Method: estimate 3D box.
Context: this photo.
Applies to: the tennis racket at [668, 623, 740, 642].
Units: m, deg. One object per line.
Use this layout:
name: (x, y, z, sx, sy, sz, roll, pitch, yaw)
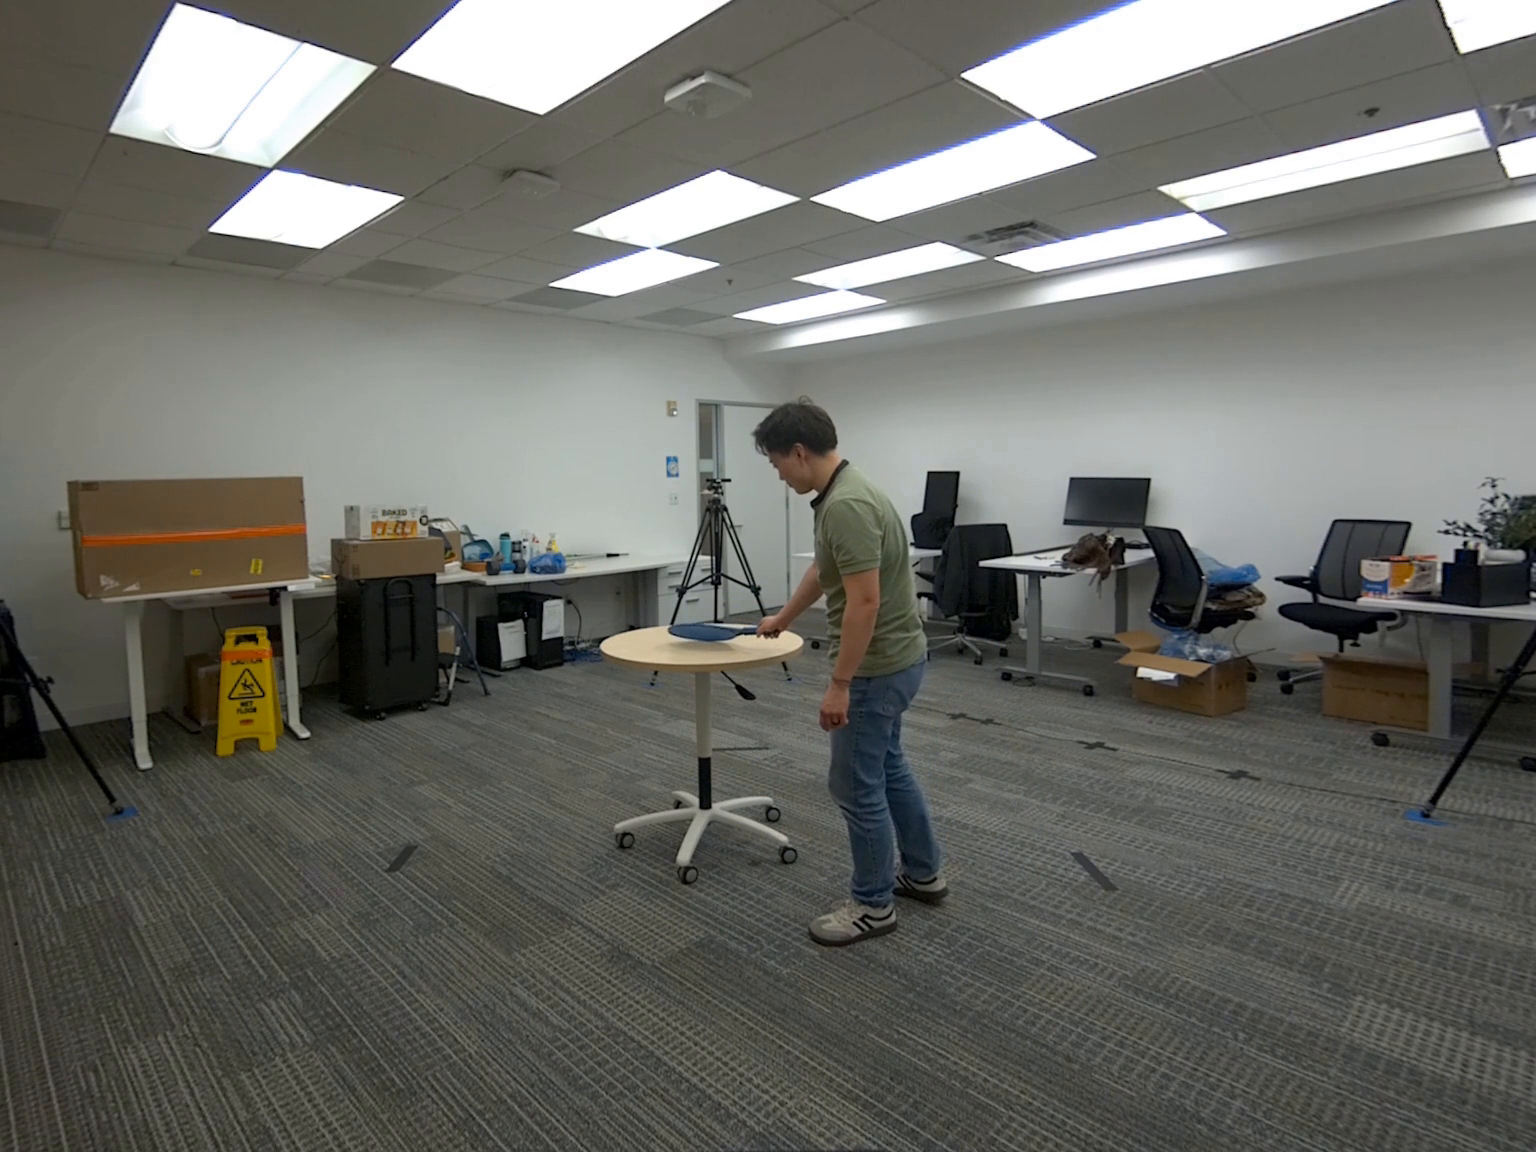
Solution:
tennis racket: (-0.171, 0.206, 3.119, 0.442, 0.032, 0.206, -5, -20, 28)
